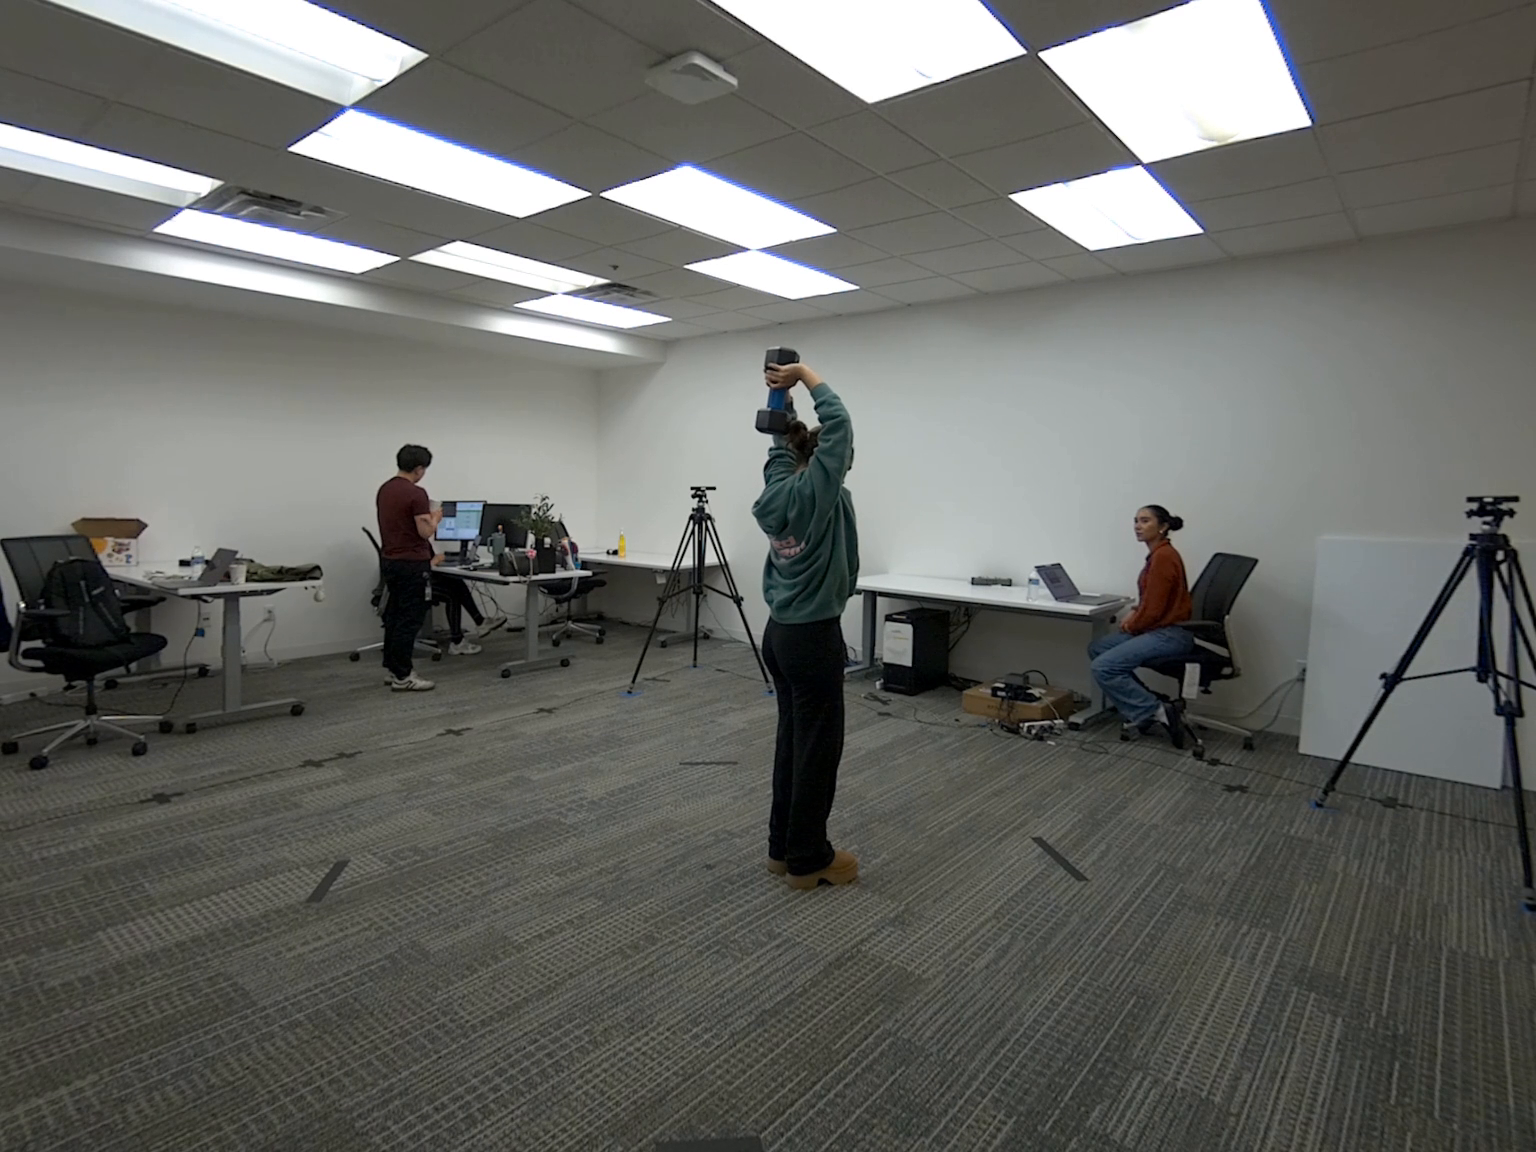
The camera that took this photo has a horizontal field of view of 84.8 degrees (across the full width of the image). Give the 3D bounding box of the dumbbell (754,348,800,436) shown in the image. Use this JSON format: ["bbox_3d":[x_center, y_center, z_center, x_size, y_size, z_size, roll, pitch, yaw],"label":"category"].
[{"bbox_3d":[0.027,-0.643,2.953,0.120,0.293,0.111,10,1,-18],"label":"dumbbell"}]
